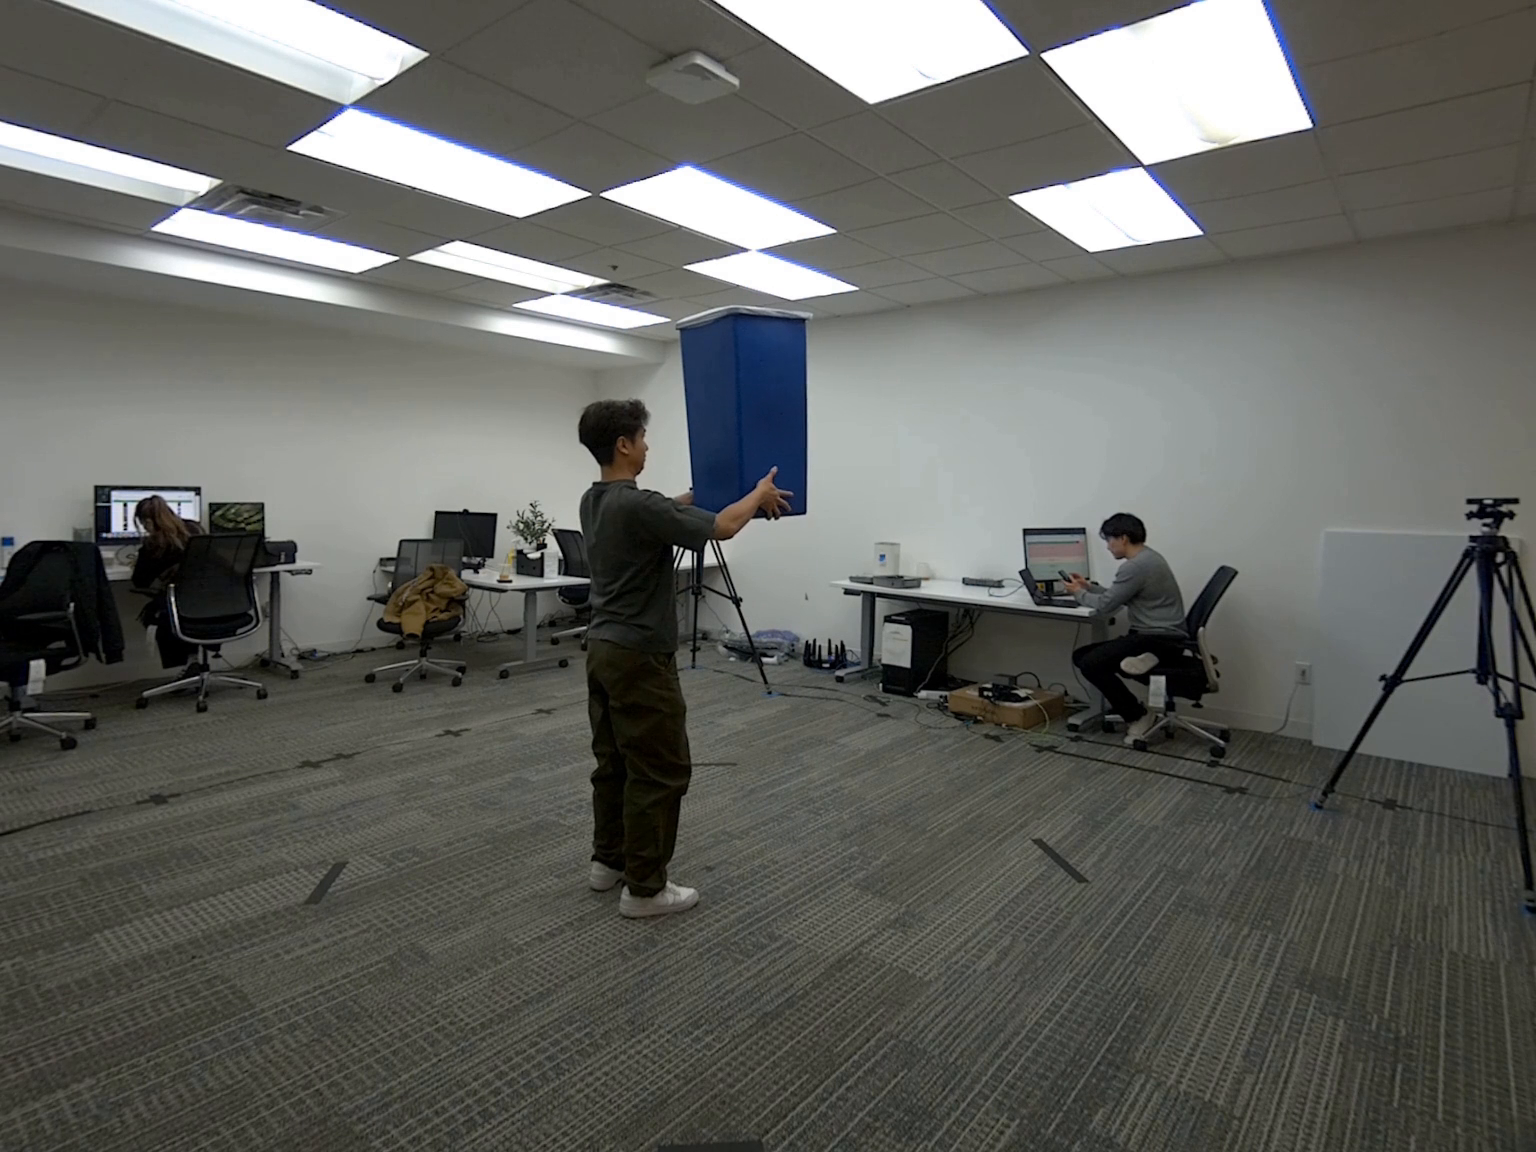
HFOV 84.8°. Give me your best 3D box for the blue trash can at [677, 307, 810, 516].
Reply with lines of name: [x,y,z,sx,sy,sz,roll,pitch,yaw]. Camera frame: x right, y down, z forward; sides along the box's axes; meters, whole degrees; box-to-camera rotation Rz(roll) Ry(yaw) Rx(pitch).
blue trash can: [-0.095,-0.582,3.080,0.368,0.710,0.386,-6,7,-39]
